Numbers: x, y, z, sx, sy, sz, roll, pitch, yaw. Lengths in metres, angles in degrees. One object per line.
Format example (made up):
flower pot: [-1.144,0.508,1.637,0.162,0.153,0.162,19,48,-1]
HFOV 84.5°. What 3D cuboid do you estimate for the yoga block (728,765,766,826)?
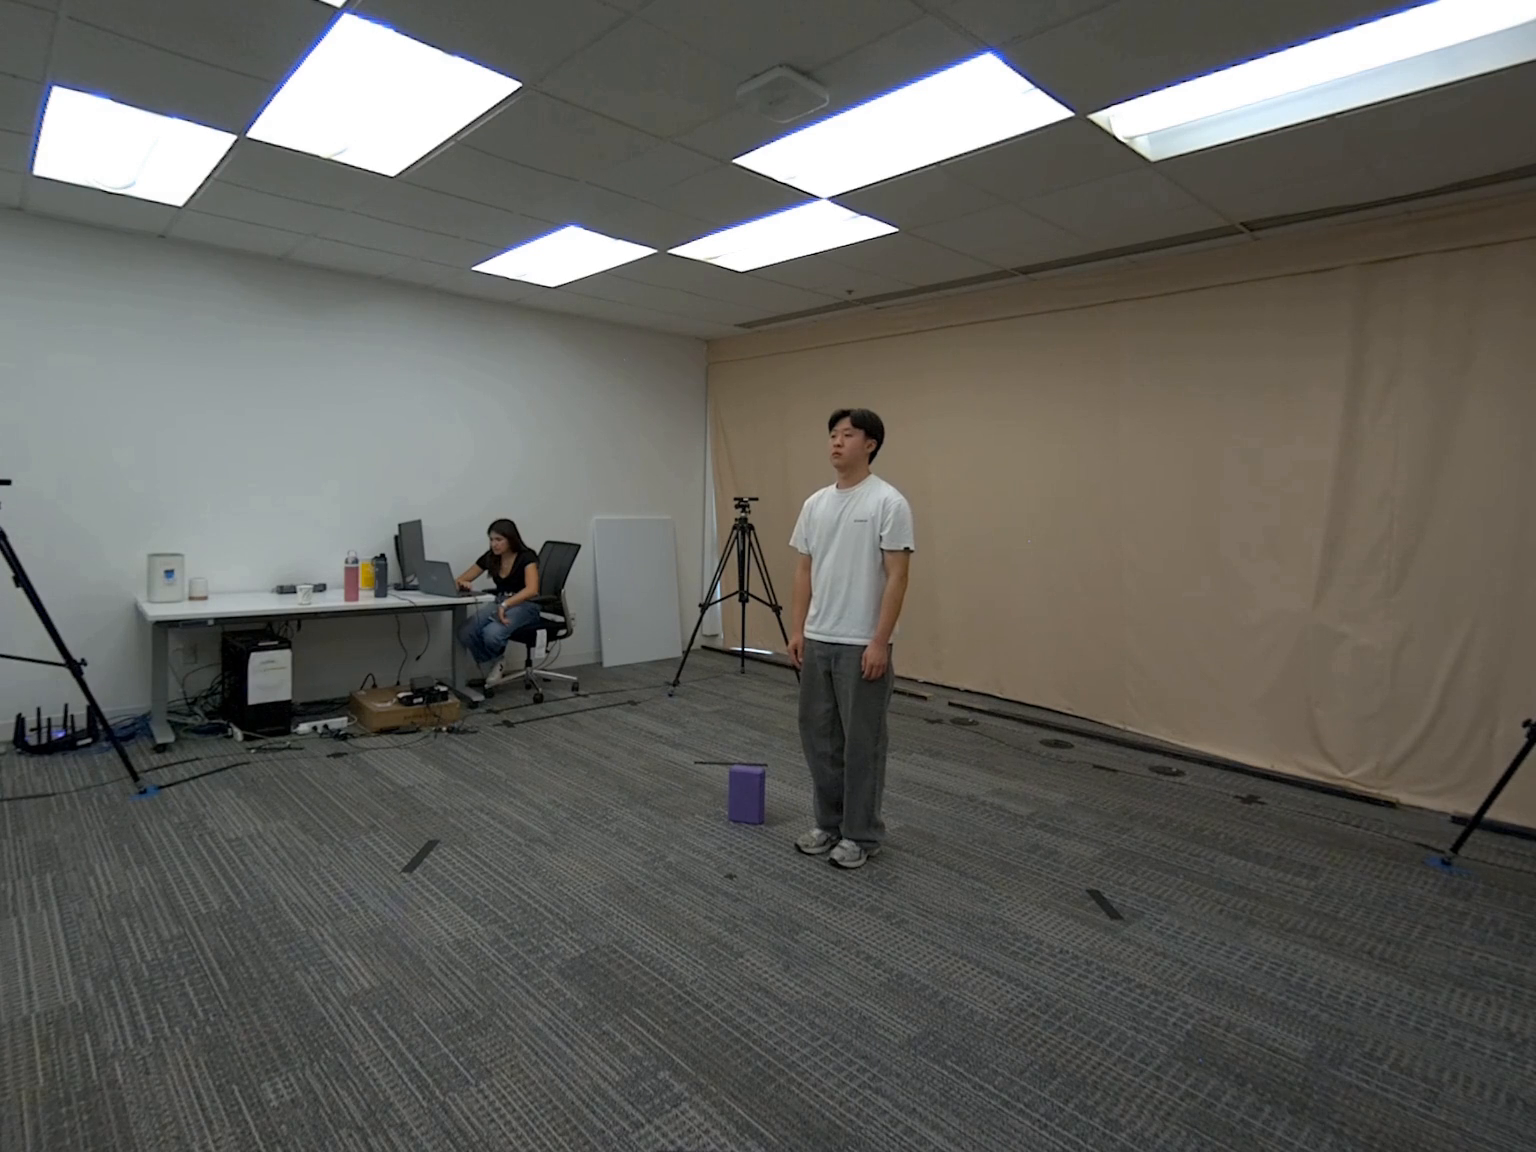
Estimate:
yoga block: [-0.105,0.947,3.646,0.151,0.229,0.075,2,3,16]
